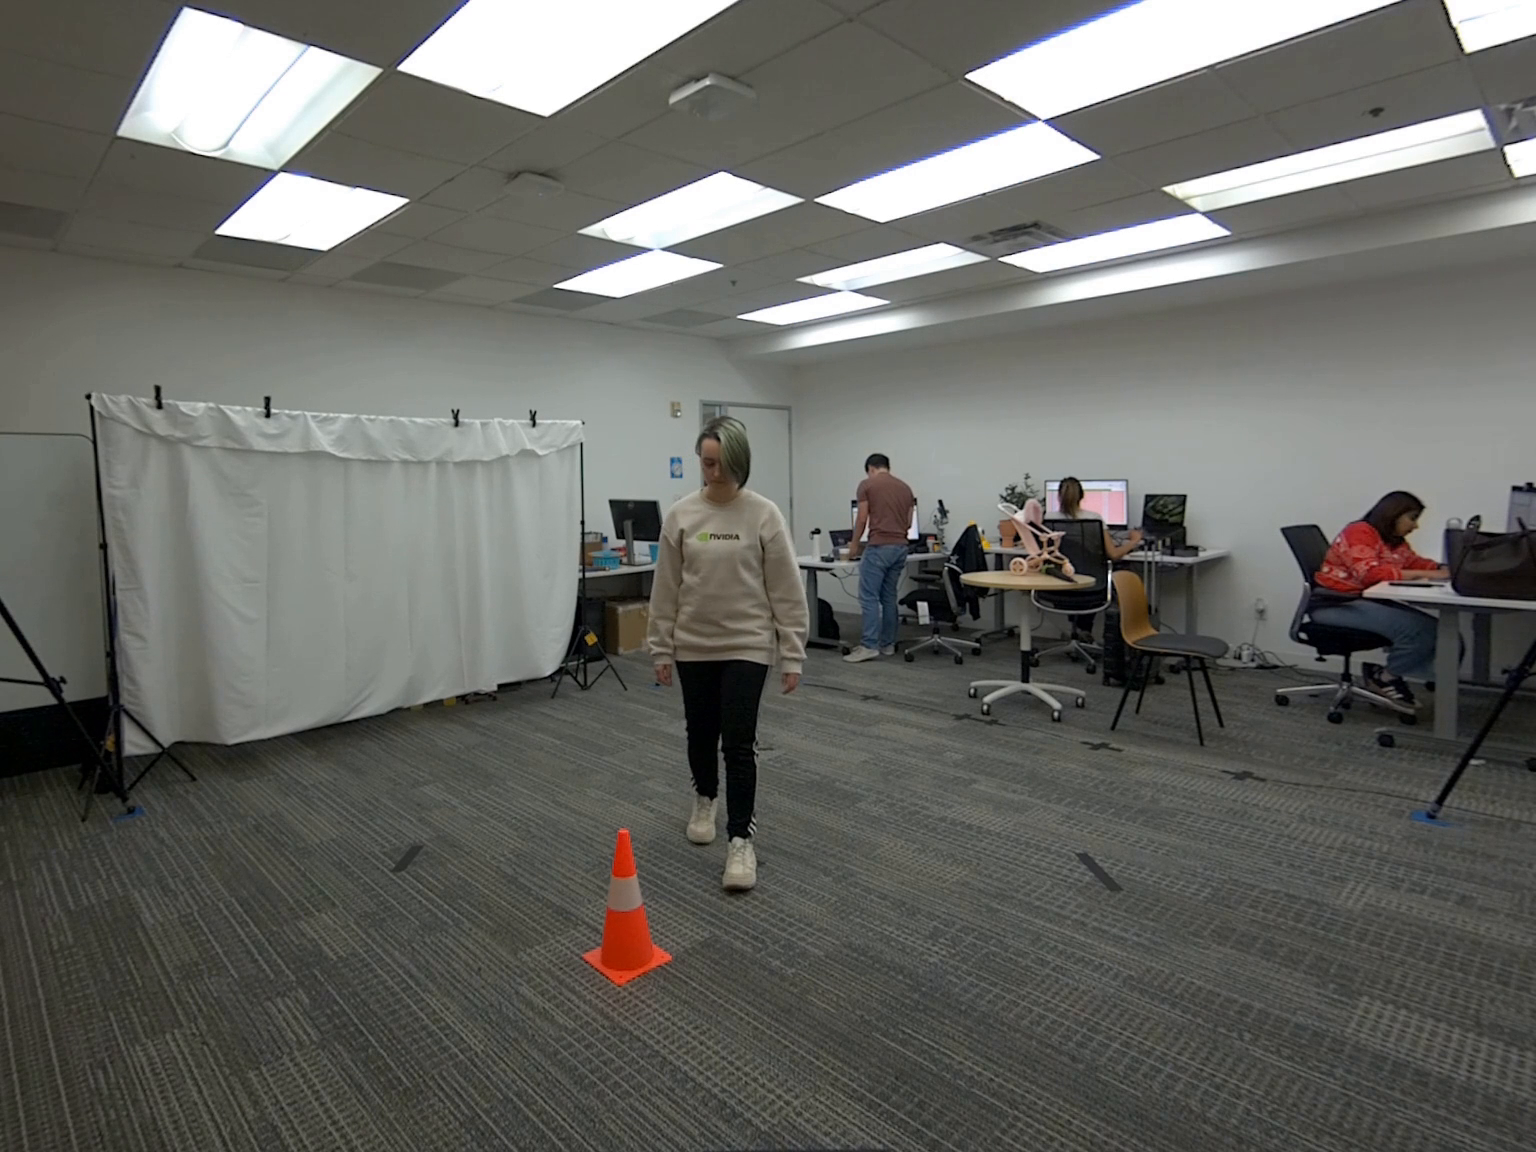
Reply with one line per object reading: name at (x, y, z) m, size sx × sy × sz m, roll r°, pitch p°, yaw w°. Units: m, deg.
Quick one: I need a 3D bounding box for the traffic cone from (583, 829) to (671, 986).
traffic cone at (-0.419, 0.939, 2.507) m, size 0.198 × 0.383 × 0.211 m, roll -4°, pitch 4°, yaw -42°
